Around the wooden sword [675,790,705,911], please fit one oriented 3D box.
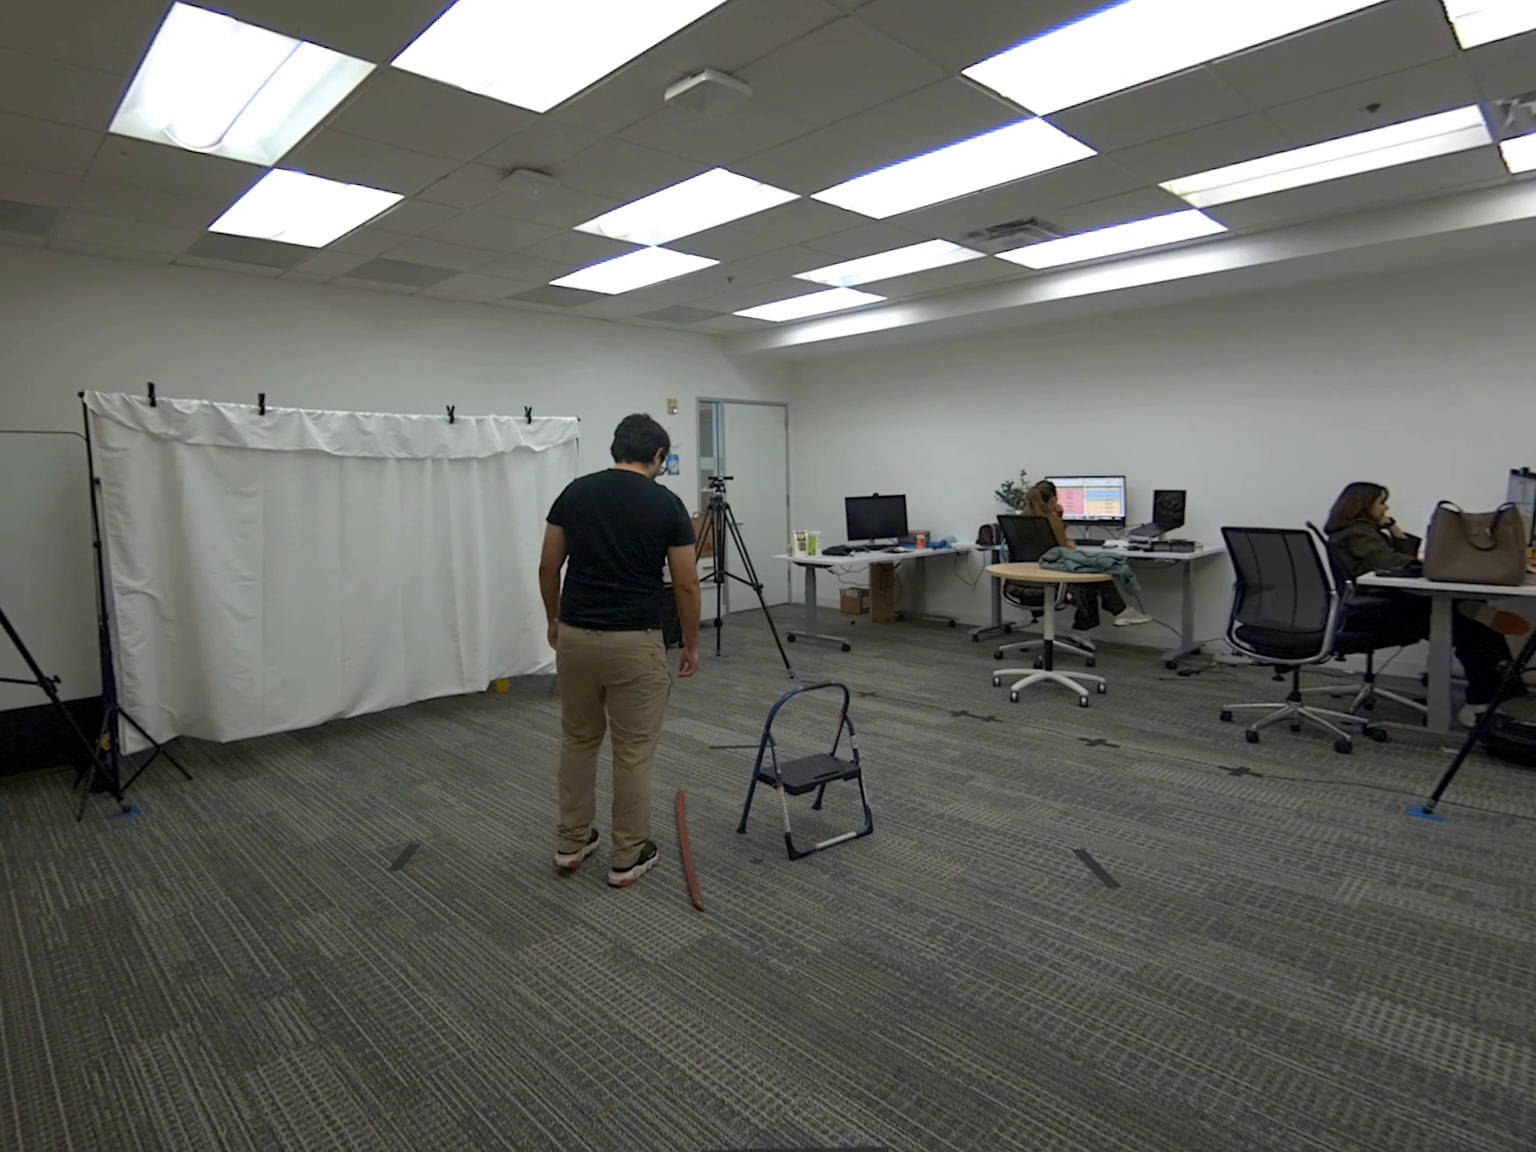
[{"bbox_3d":[-0.309,1.001,3.255,0.051,0.024,1.037,4,6,-9],"label":"wooden sword"}]
